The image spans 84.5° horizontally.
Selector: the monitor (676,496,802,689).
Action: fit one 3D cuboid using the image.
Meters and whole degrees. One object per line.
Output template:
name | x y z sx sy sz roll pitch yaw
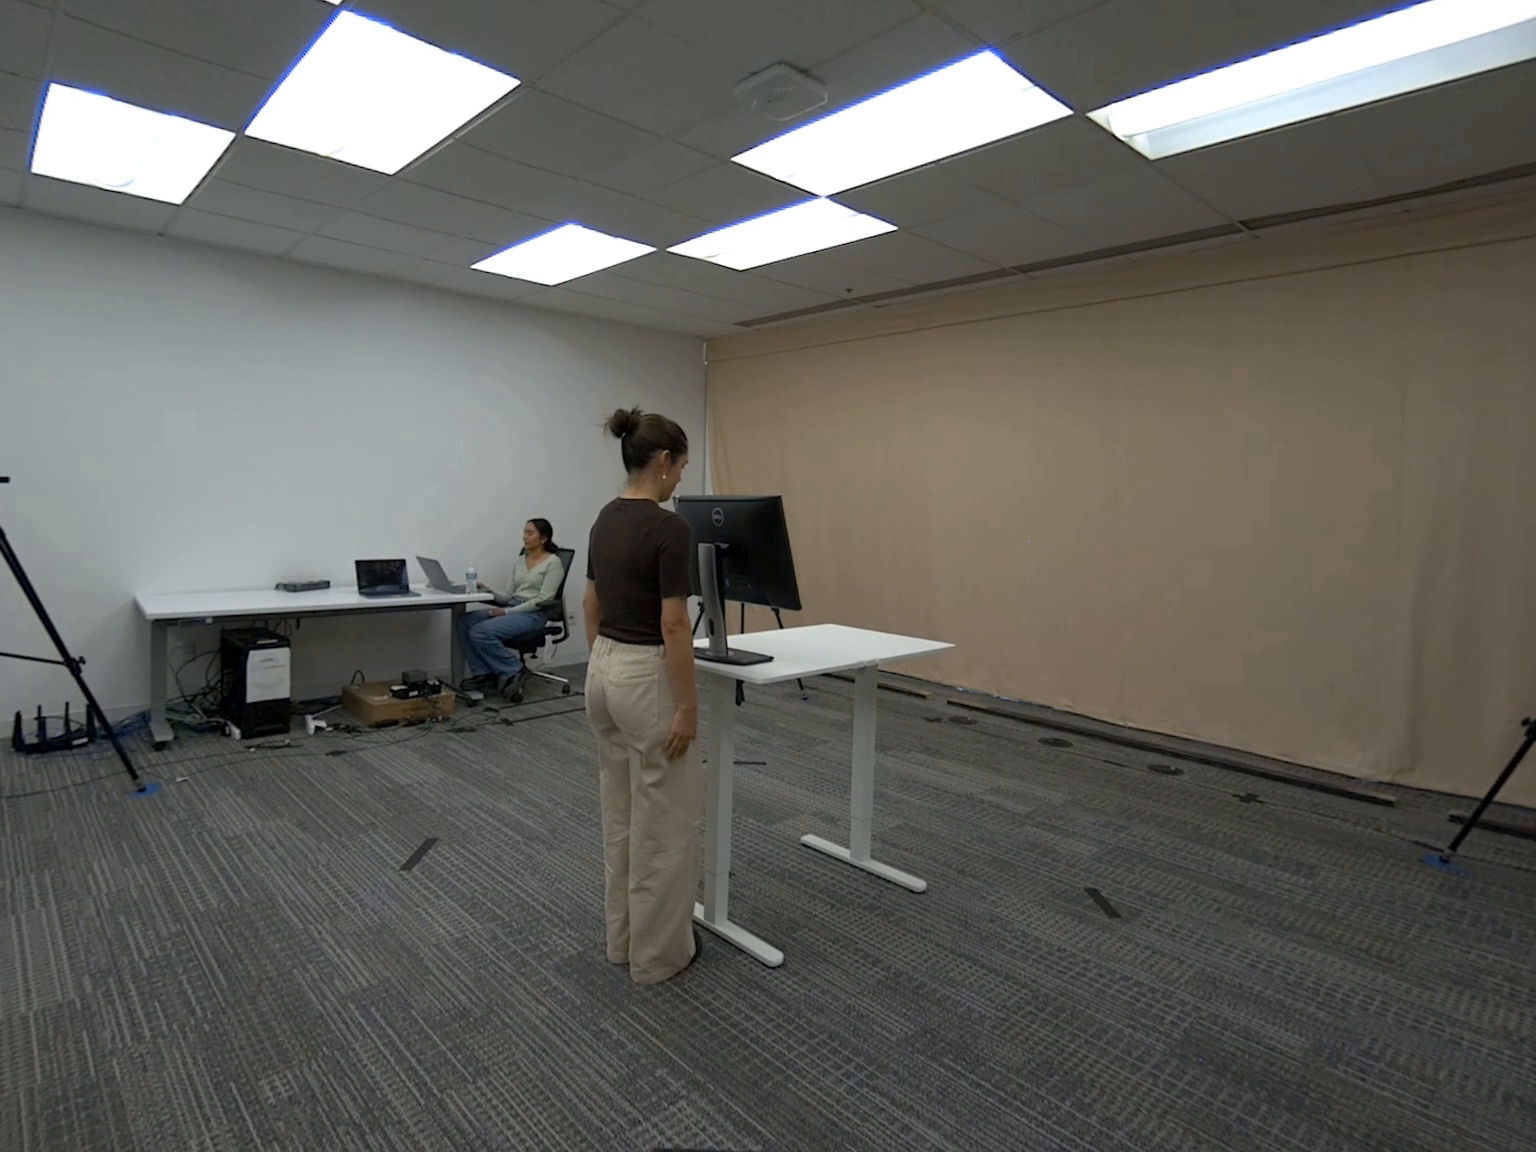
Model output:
monitor | -0.134 0.009 2.642 0.183 0.521 0.553 -3 5 -42
